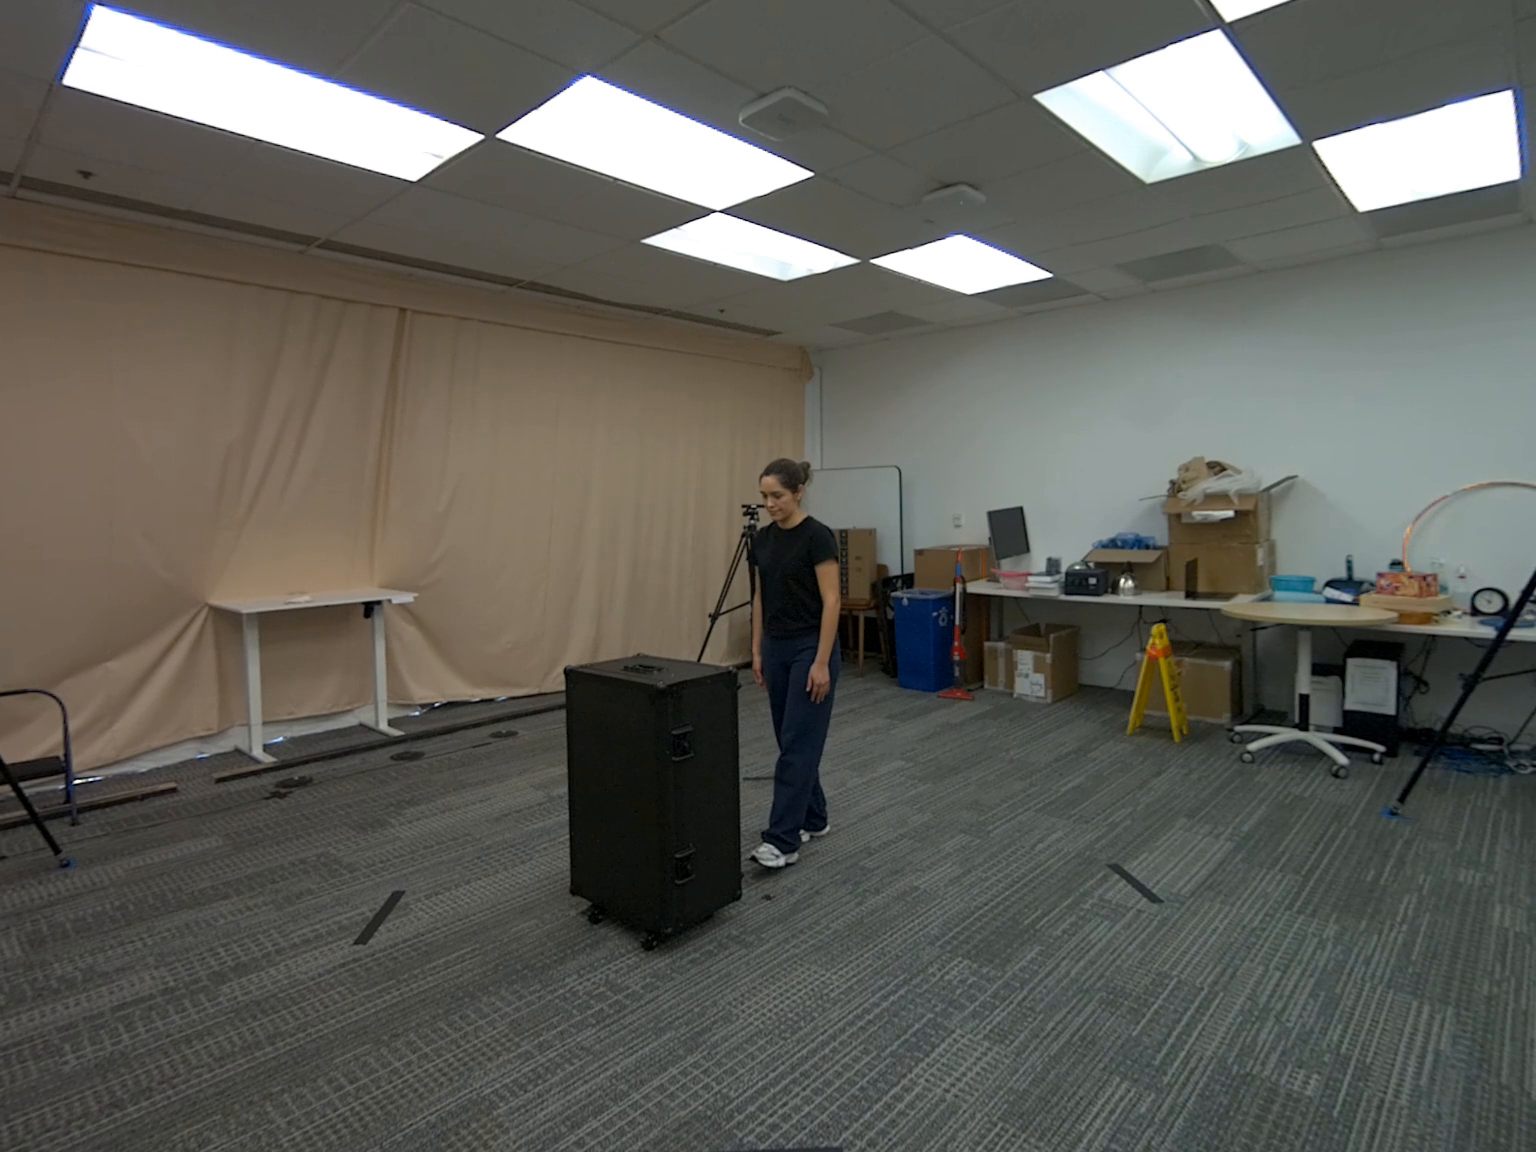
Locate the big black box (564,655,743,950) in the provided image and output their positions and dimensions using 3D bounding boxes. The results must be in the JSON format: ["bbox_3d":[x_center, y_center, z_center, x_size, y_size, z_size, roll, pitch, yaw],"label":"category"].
[{"bbox_3d":[-0.374,0.735,2.856,0.538,0.860,0.384,2,3,40],"label":"big black box"}]
